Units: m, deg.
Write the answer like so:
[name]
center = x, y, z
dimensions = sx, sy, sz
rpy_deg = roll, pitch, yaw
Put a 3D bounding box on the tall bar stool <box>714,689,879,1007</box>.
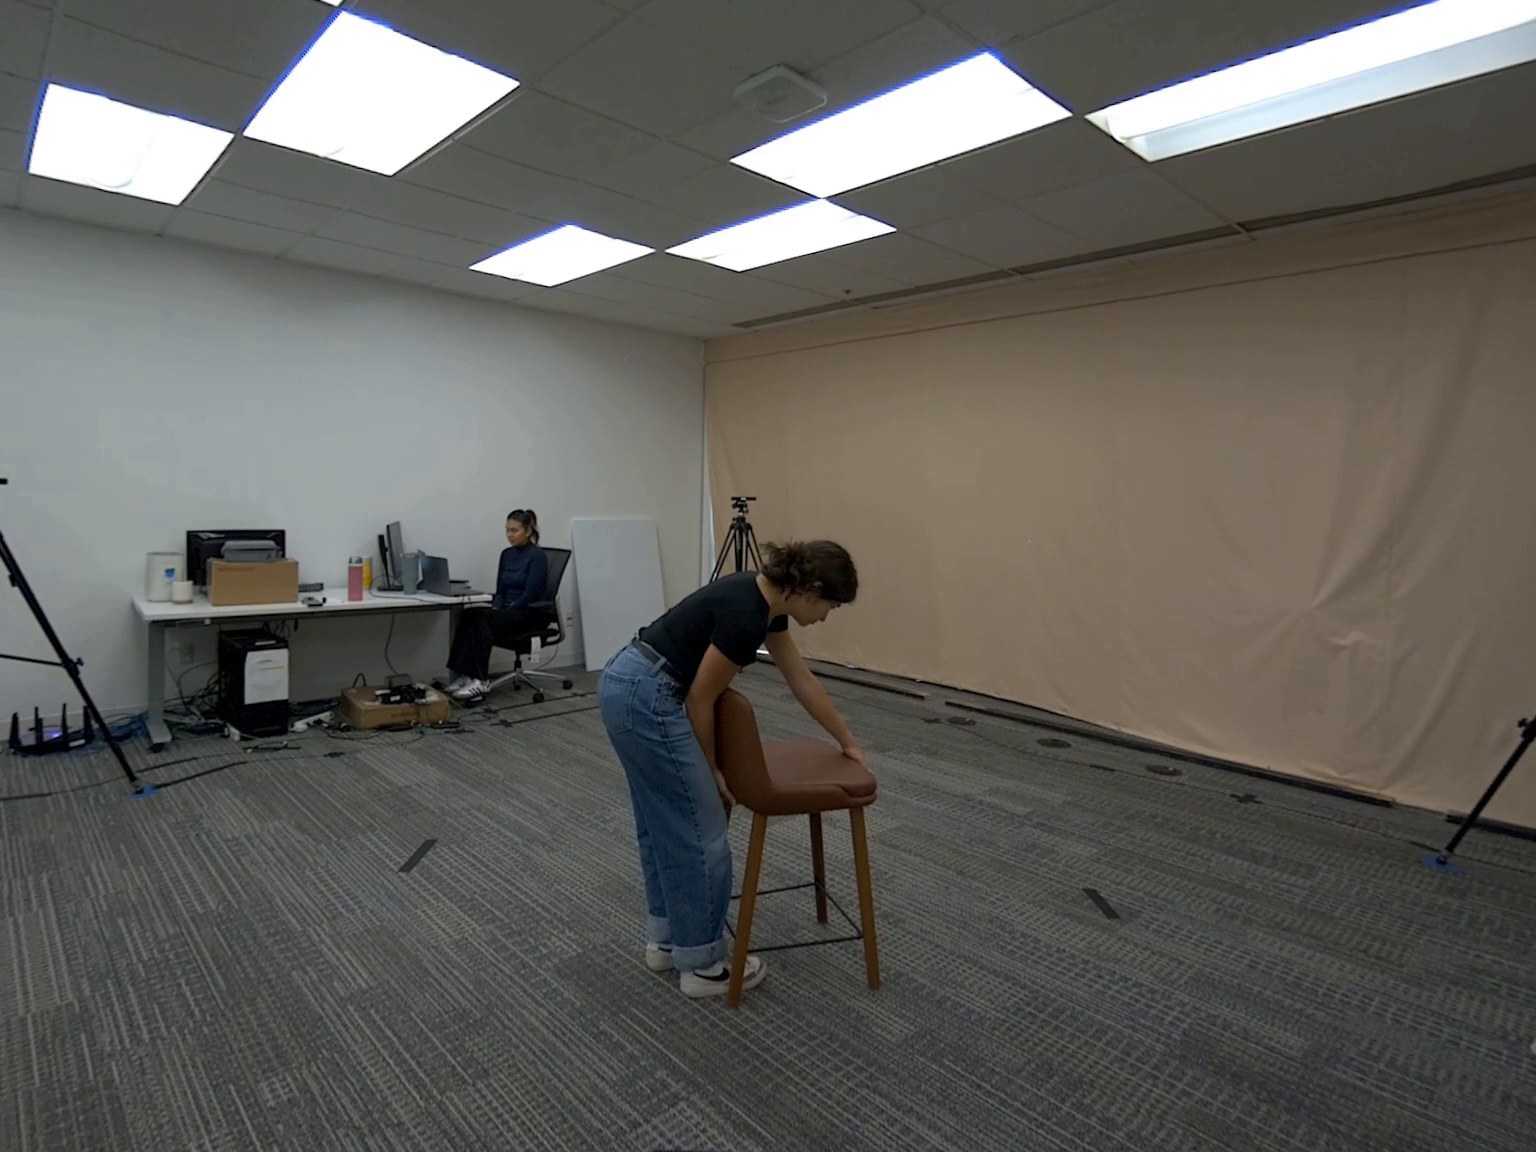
[tall bar stool]
center = 0.047, 0.728, 2.506
dimensions = 0.461, 0.887, 0.464
rpy_deg = -2, 4, -19
